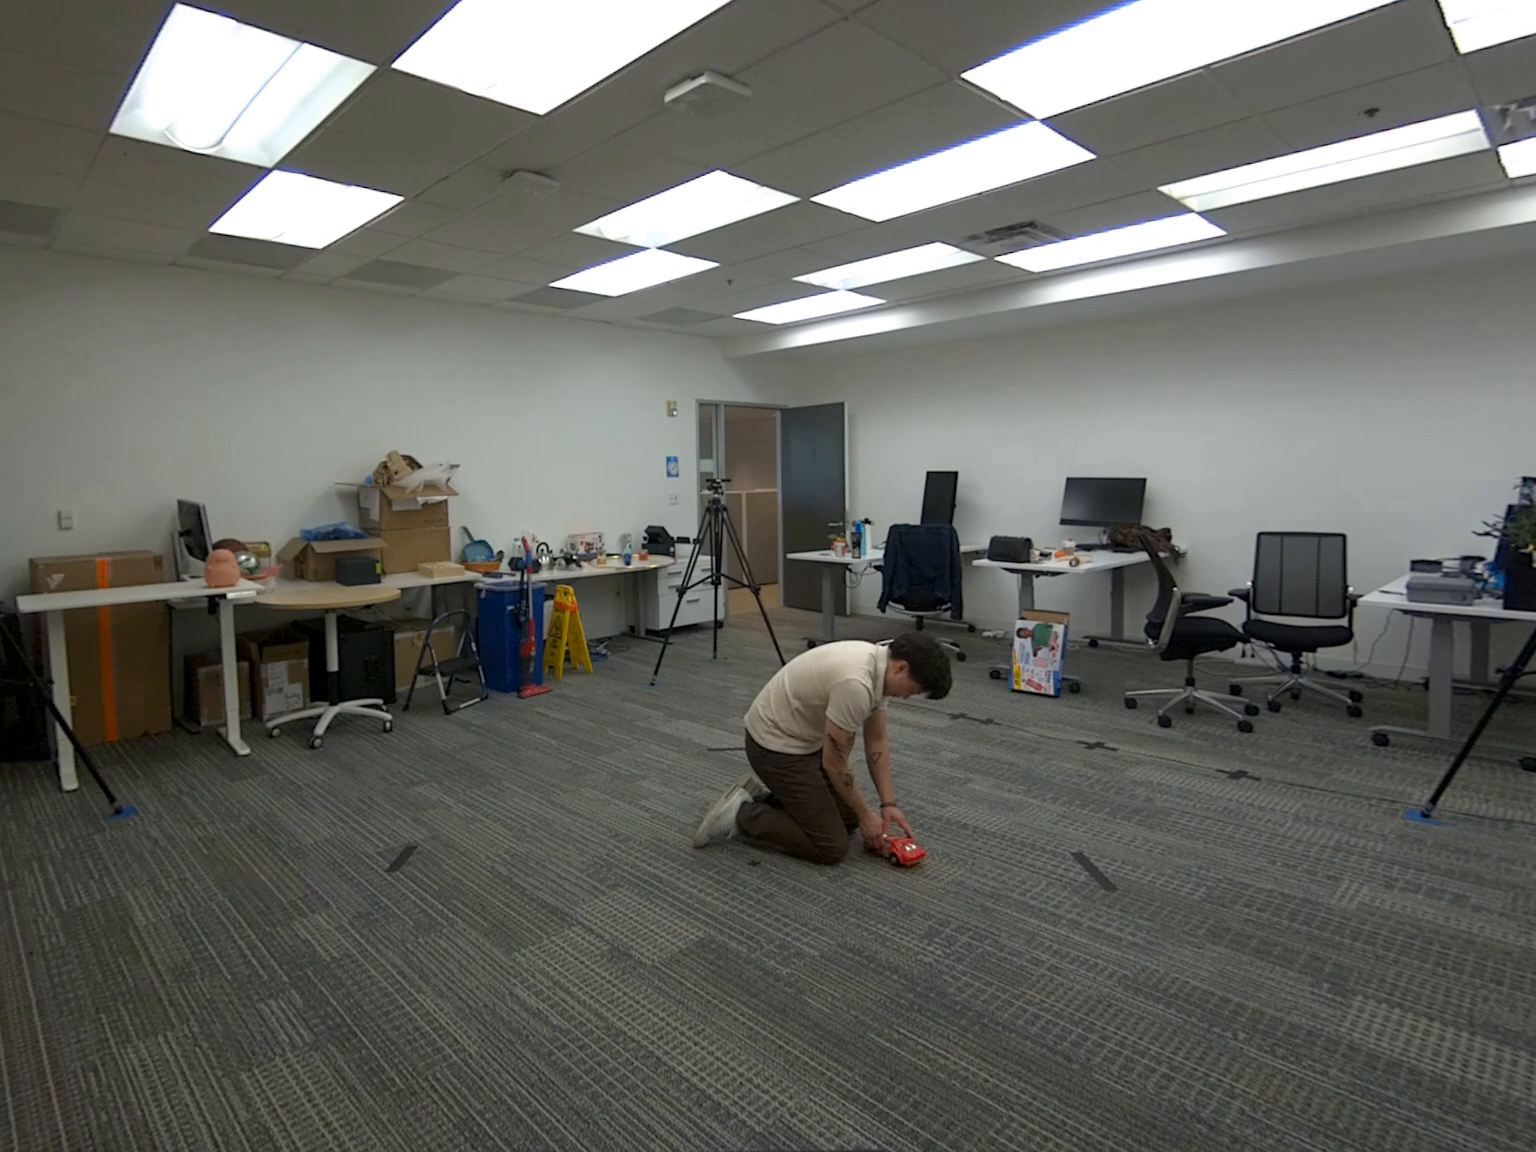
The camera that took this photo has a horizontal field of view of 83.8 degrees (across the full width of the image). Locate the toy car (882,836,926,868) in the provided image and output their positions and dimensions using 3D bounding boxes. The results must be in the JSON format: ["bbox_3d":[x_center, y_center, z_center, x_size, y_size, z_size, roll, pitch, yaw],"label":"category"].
[{"bbox_3d":[0.465,0.993,3.121,0.127,0.084,0.260,-2,-5,-33],"label":"toy car"}]
